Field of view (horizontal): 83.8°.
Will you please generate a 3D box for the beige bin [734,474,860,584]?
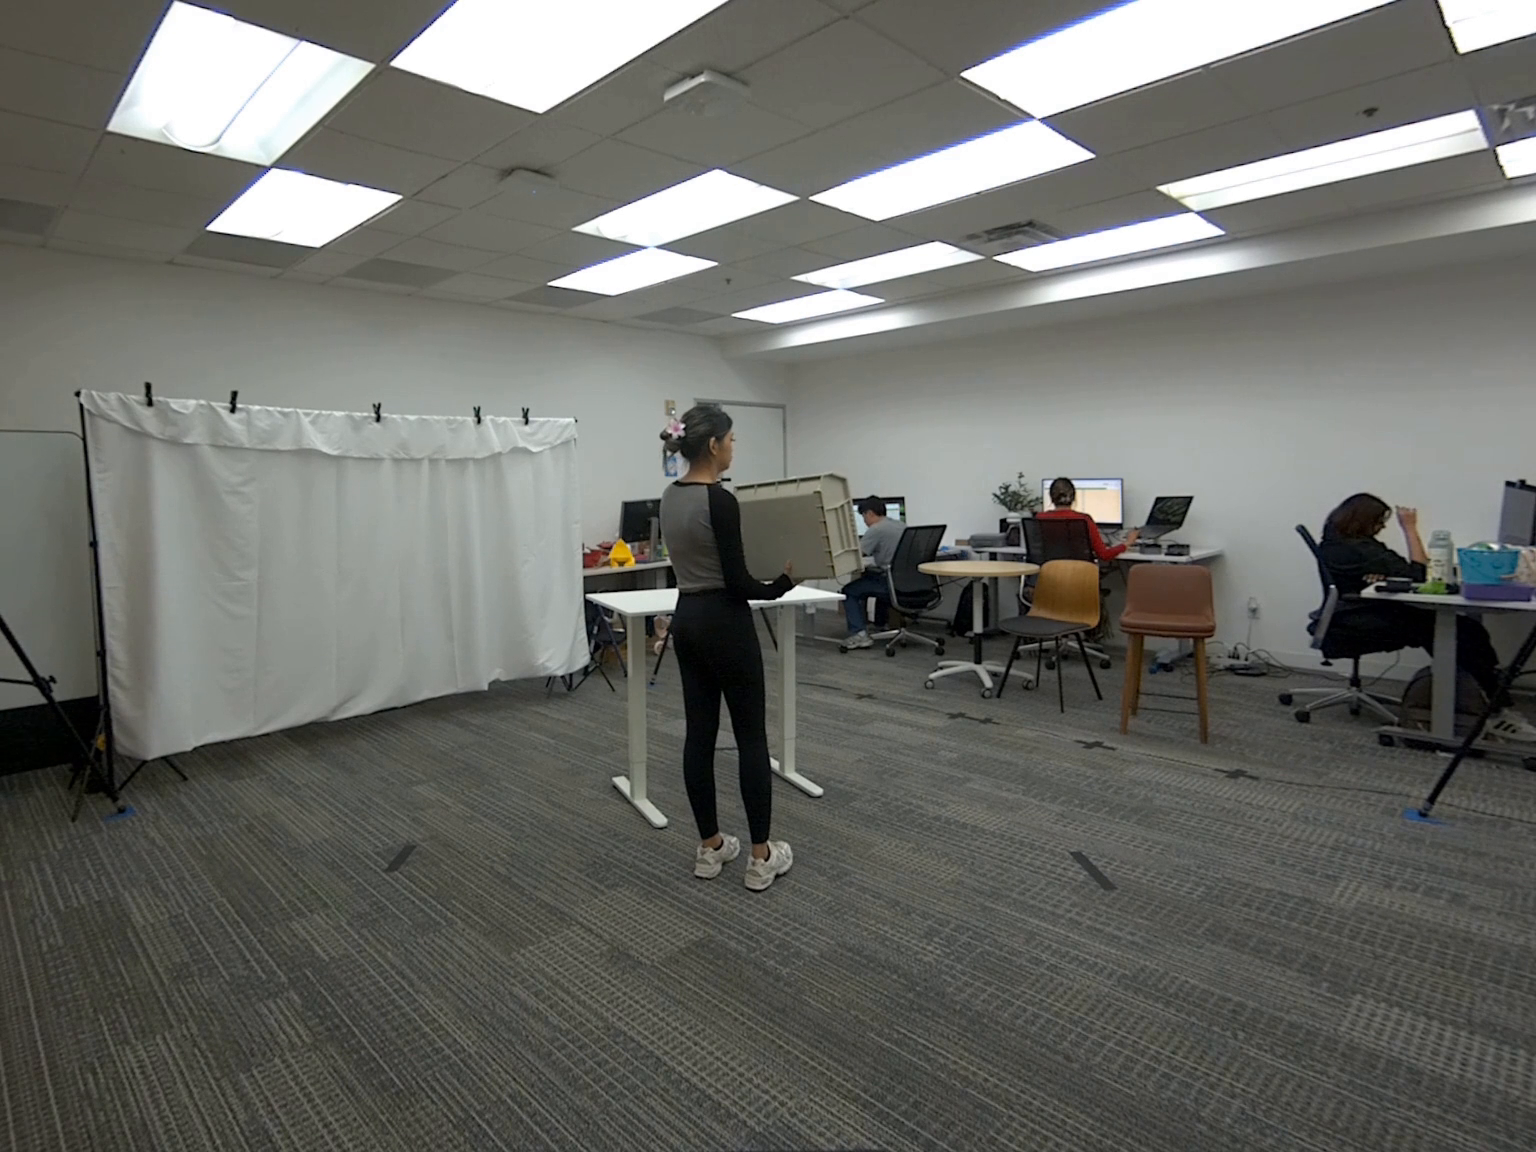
[{"bbox_3d":[0.099,-0.170,3.119,0.434,0.375,0.185,-3,9,40],"label":"beige bin"}]
